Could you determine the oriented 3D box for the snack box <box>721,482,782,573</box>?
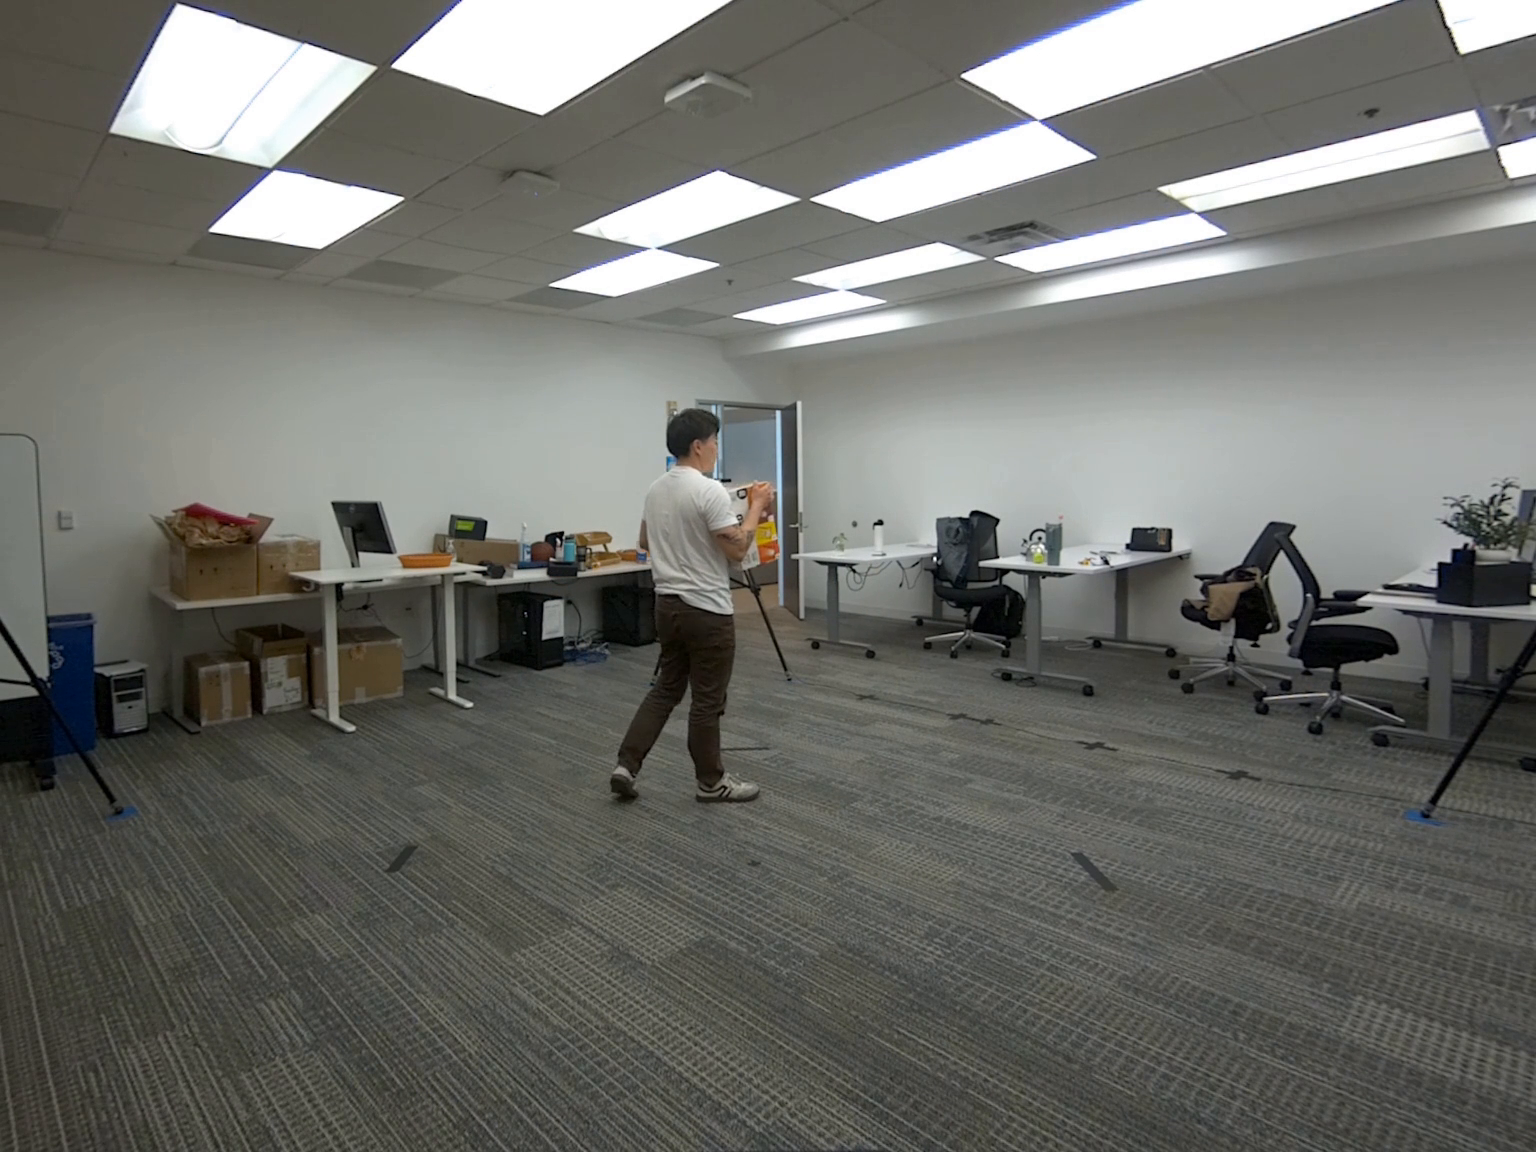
[{"bbox_3d":[-0.171,-0.224,3.780,0.202,0.337,0.417,-16,12,-30],"label":"snack box"}]
